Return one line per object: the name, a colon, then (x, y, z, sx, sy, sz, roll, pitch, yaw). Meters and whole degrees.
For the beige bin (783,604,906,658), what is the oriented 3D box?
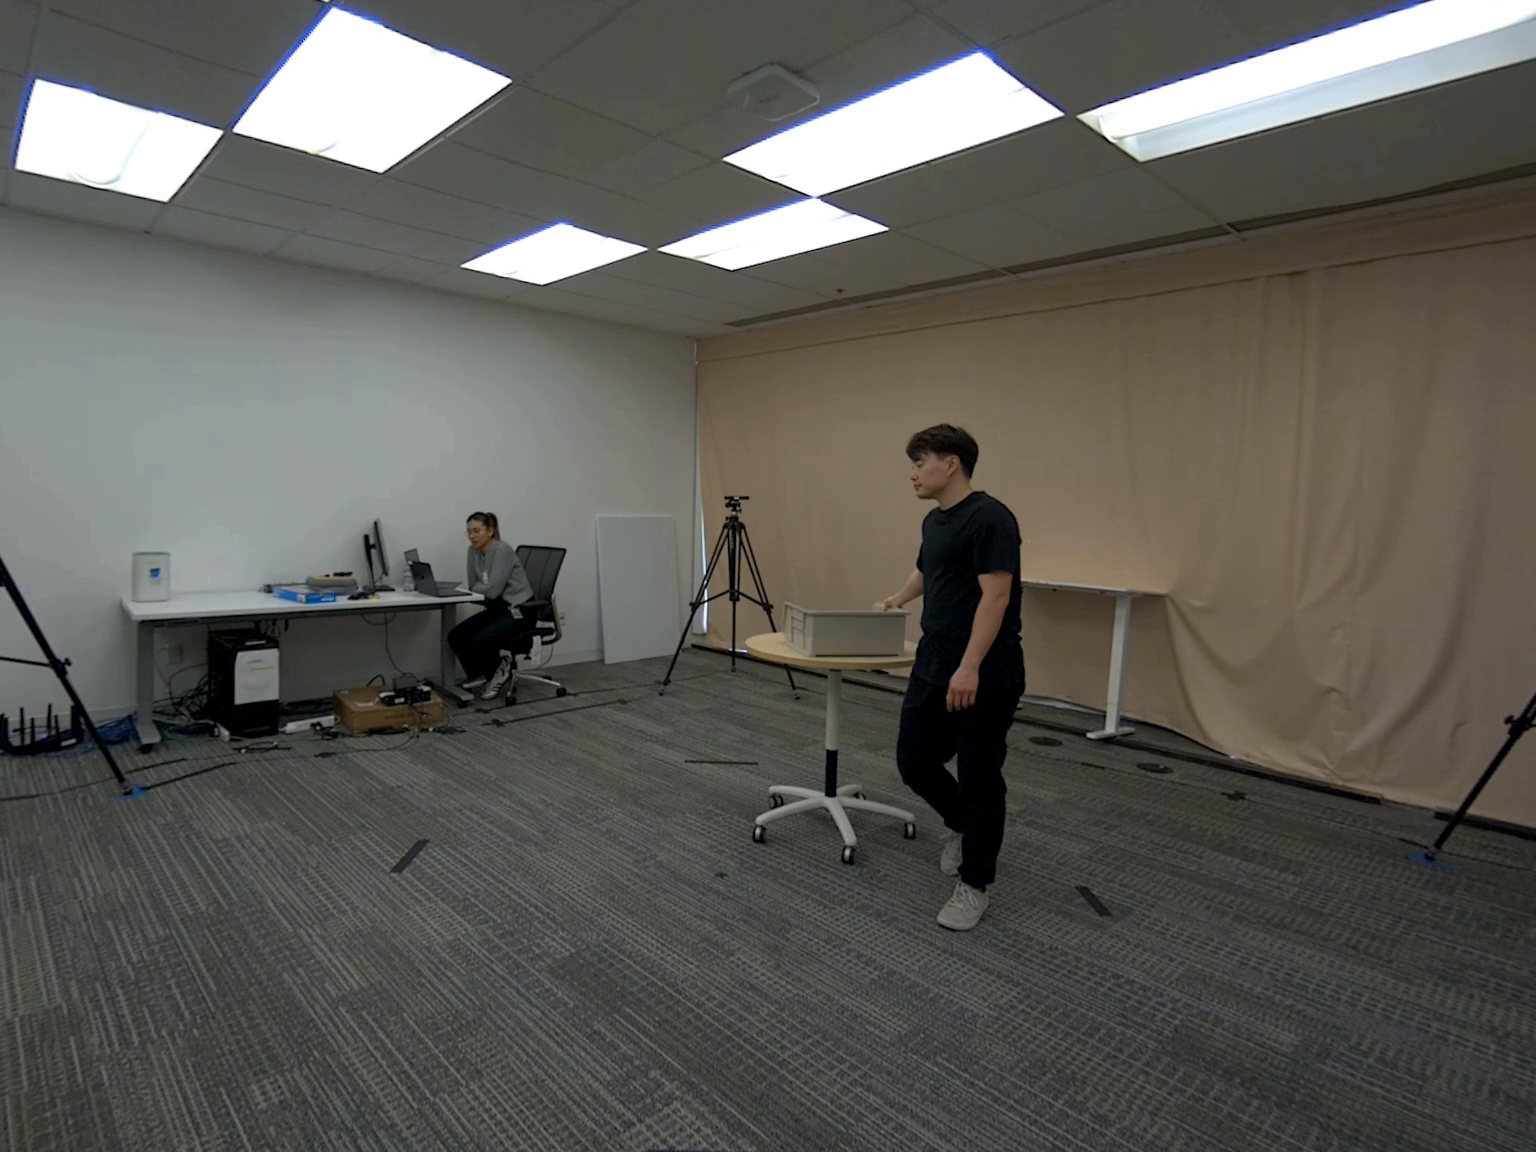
beige bin: (0.302, 0.211, 3.452, 0.417, 0.188, 0.383, 1, 6, -15)
